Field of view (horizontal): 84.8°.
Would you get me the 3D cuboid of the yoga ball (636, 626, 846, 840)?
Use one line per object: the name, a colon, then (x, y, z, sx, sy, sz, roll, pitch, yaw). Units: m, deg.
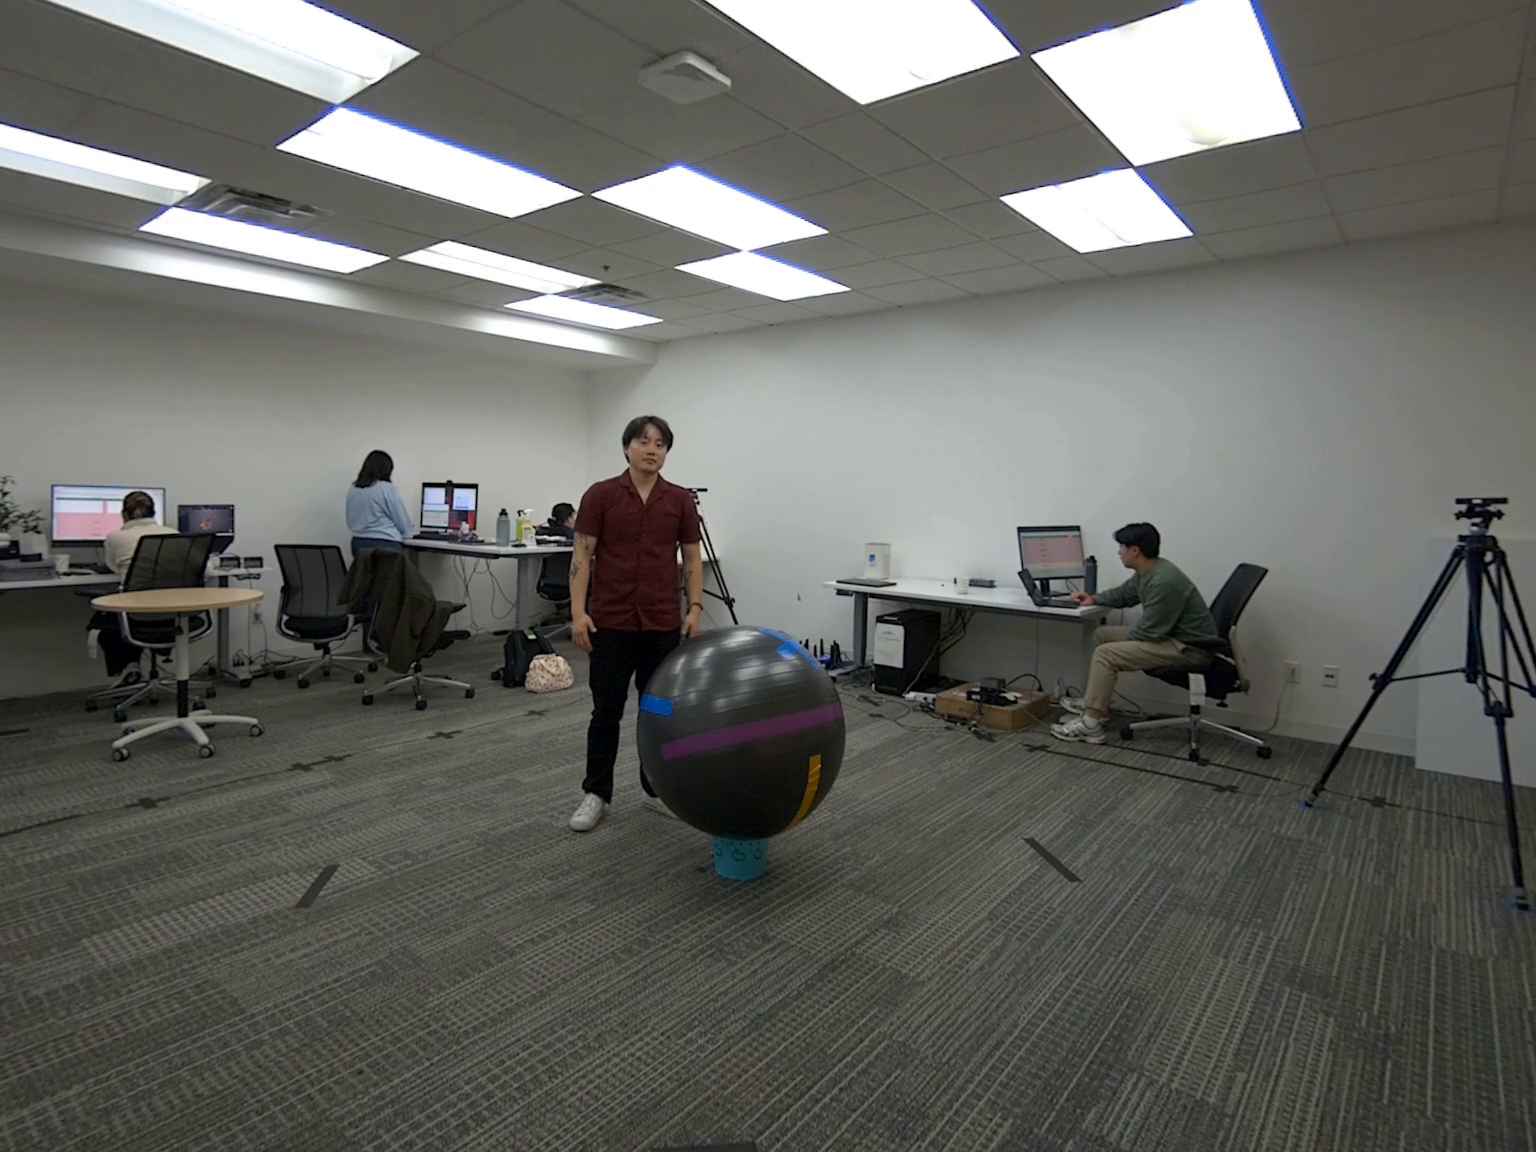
yoga ball: (-0.115, 0.555, 3.099, 0.757, 0.756, 0.762, 1, 4, -2)
